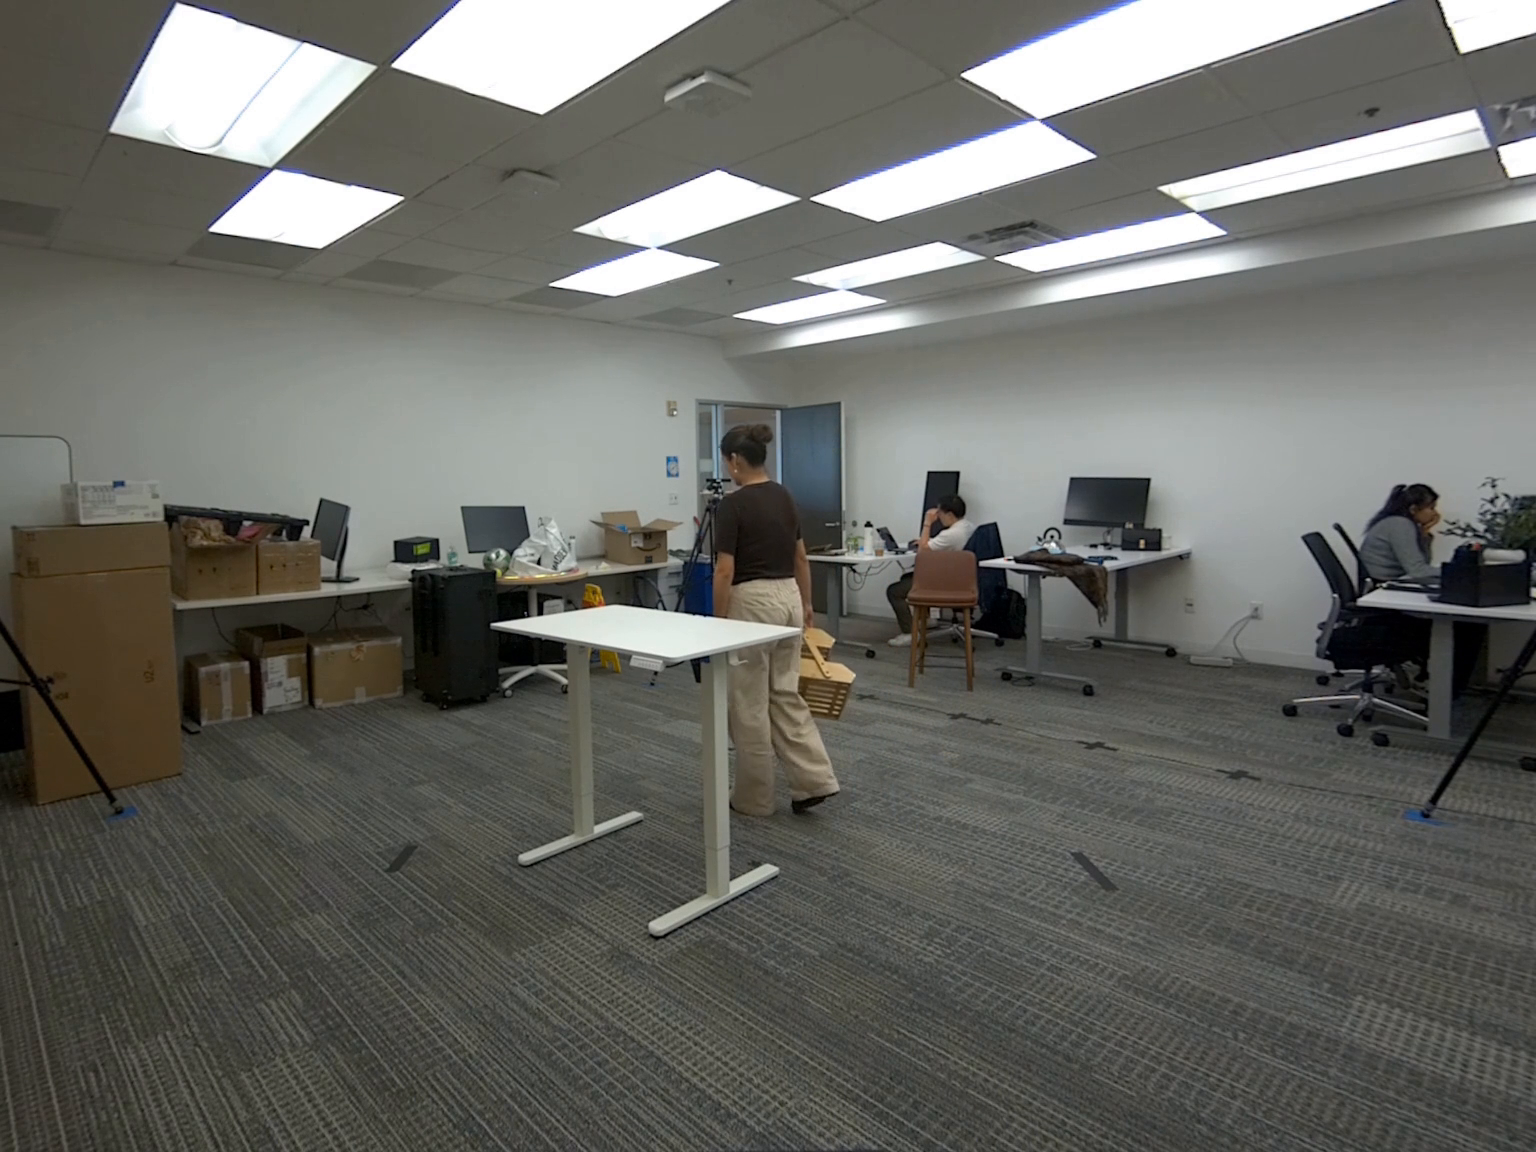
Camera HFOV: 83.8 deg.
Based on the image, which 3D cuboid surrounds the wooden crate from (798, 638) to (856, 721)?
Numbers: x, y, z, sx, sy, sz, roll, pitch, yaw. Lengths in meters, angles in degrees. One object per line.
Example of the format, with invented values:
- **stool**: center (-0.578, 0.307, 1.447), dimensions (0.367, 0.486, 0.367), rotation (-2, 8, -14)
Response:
- **wooden crate**: center (0.217, 0.431, 3.810), dimensions (0.302, 0.317, 0.280), rotation (8, 48, -2)
